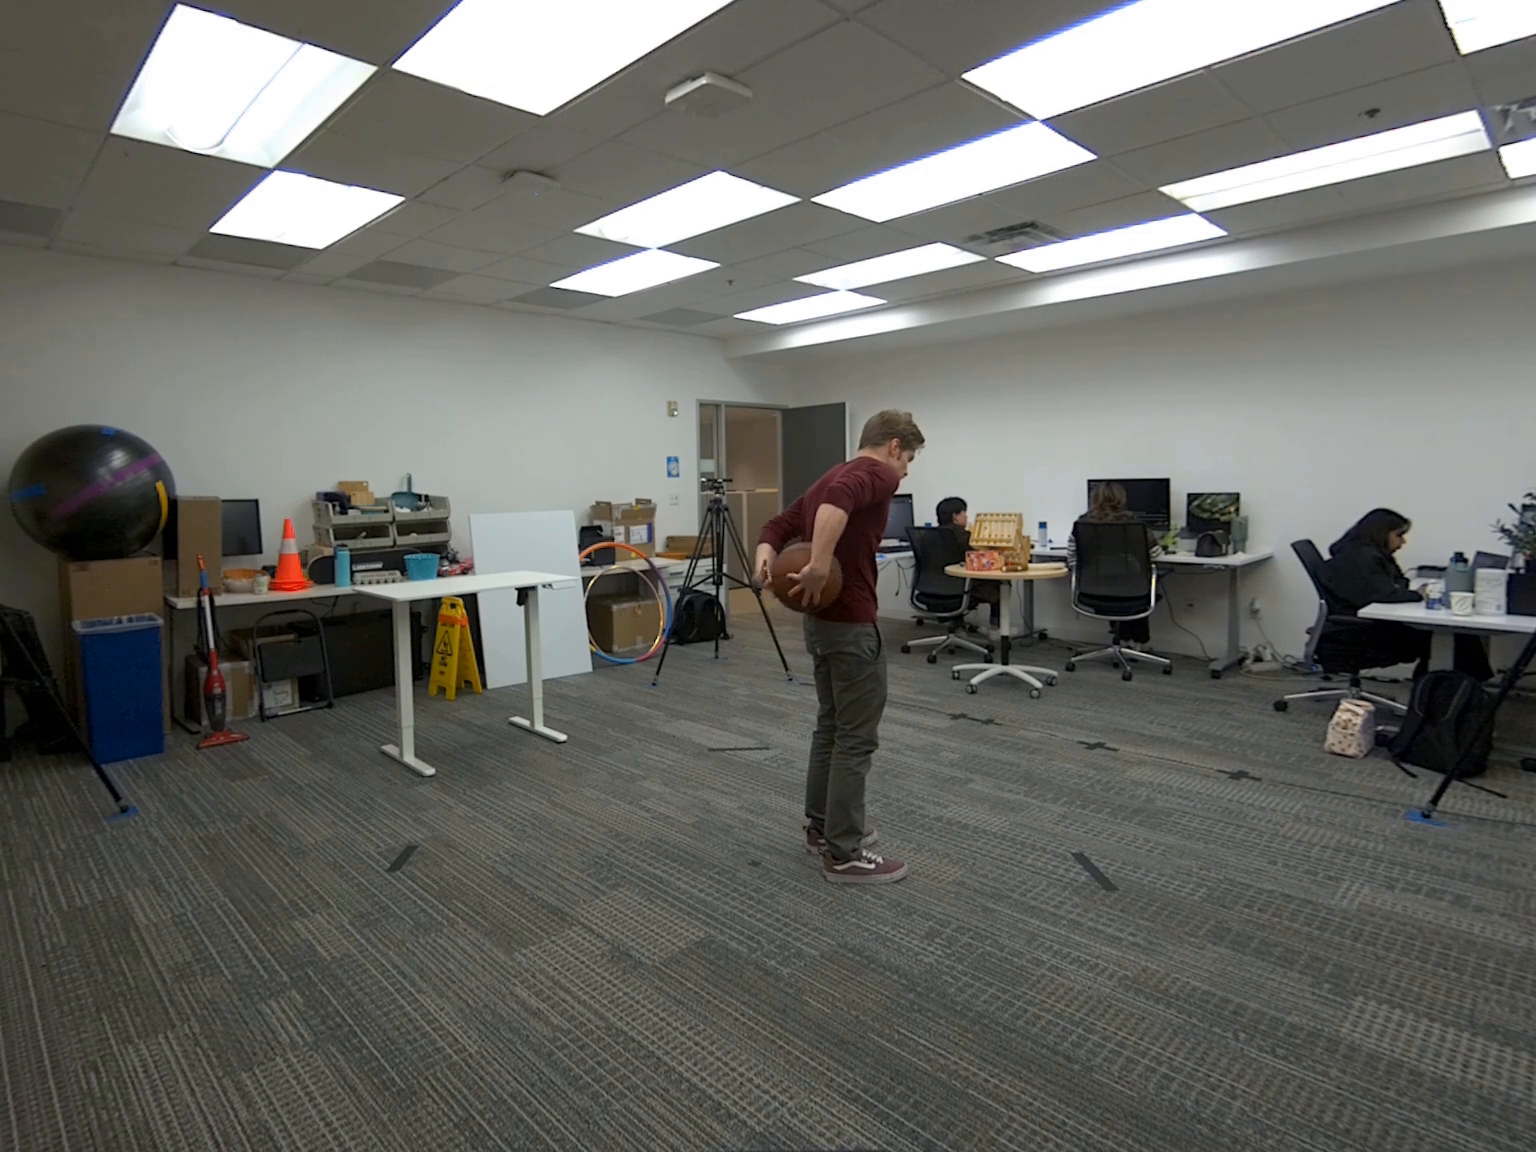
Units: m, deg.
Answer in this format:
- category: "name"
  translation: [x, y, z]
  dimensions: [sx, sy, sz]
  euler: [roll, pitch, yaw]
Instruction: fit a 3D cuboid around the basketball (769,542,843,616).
- category: "basketball"
  translation: [0.125, 0.006, 2.891]
  dimensions: [0.236, 0.235, 0.237]
  euler: [-1, 5, -2]
